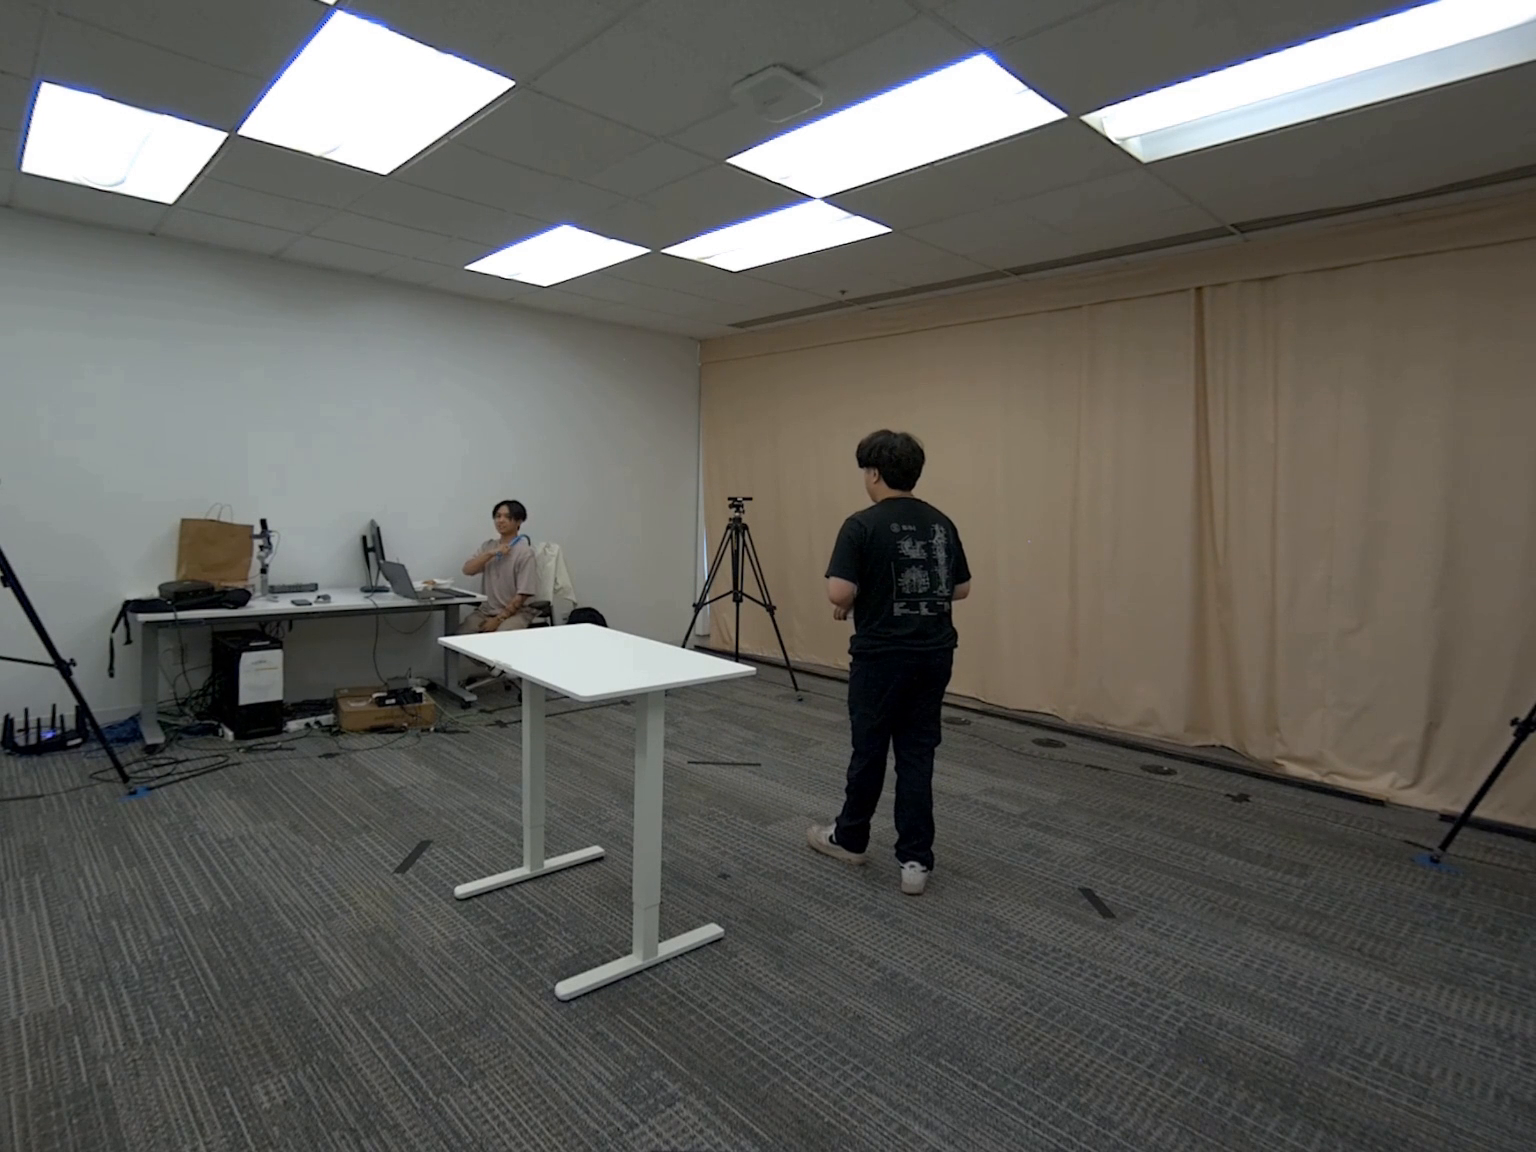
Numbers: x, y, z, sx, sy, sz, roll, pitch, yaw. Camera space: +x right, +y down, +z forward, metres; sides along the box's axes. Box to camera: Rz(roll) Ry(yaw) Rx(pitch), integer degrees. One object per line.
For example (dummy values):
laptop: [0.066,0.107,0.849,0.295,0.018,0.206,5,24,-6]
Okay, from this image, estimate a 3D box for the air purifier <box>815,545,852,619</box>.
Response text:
air purifier: [0.308,0.022,3.393,0.170,0.265,0.172,7,2,-9]
